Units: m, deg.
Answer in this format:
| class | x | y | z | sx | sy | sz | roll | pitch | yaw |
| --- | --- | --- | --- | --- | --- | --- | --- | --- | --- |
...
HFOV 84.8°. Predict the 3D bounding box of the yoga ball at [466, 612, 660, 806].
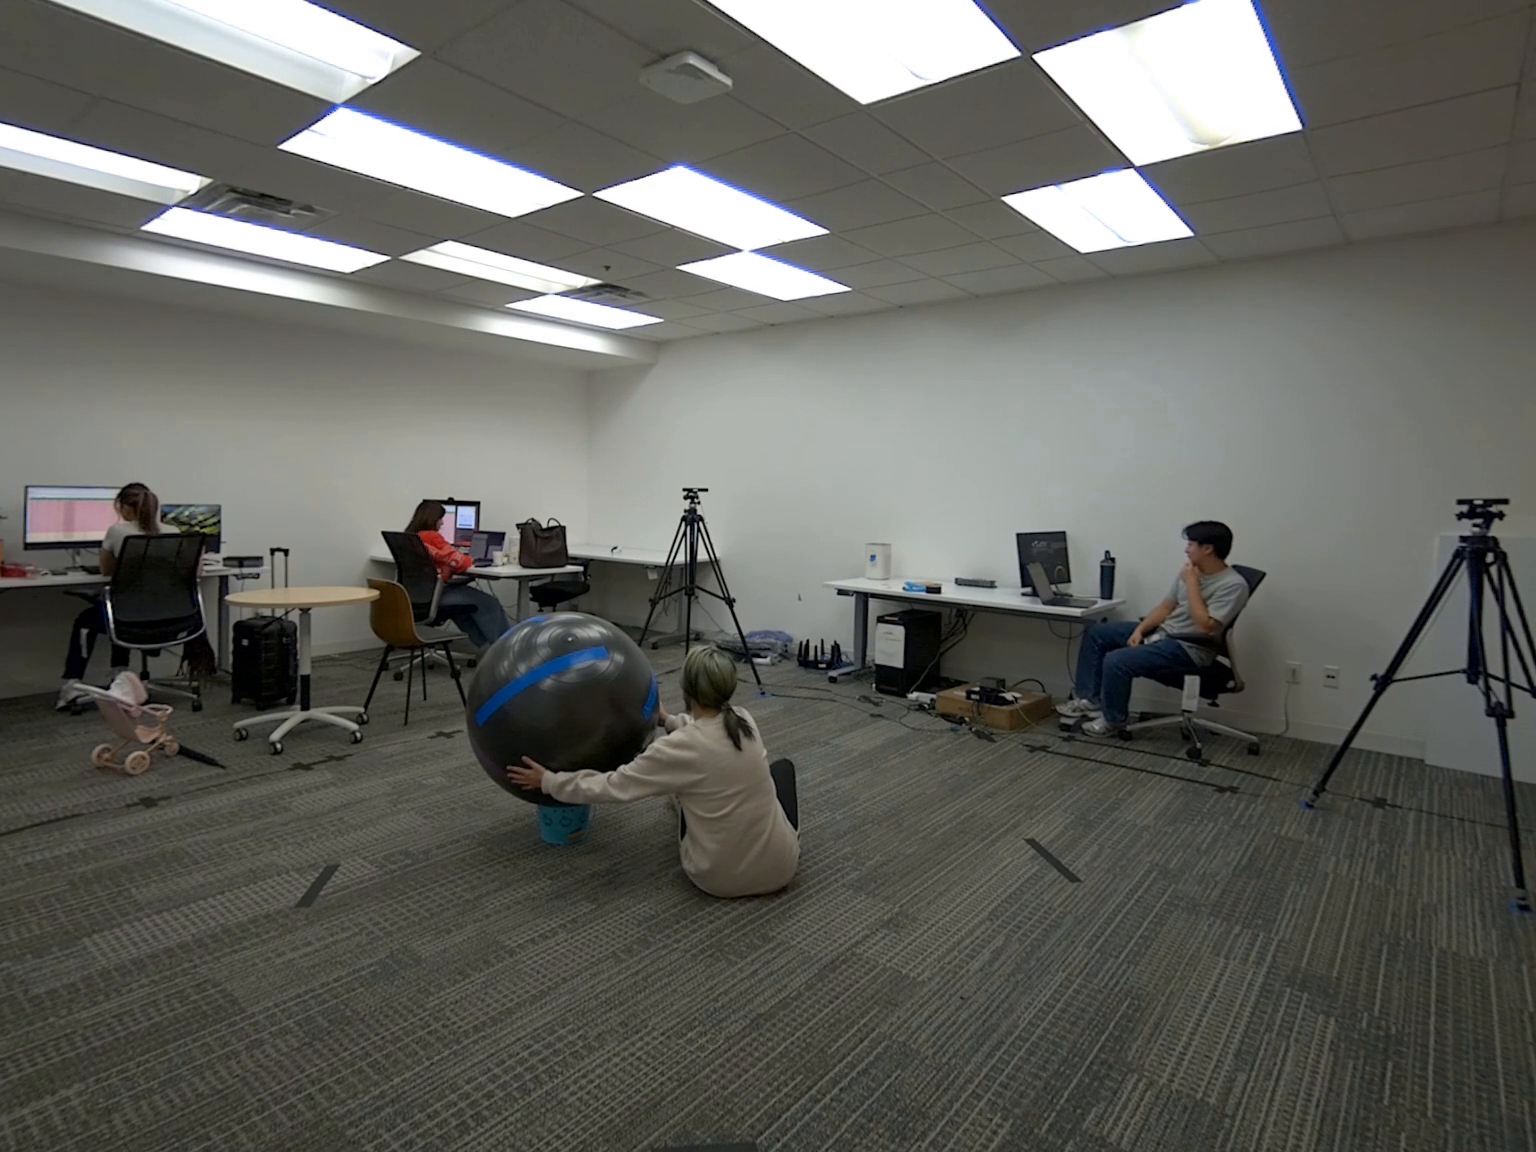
| class | x | y | z | sx | sy | sz | roll | pitch | yaw |
| --- | --- | --- | --- | --- | --- | --- | --- | --- | --- |
| yoga ball | -0.820 | 0.527 | 3.380 | 0.757 | 0.756 | 0.761 | 1 | 4 | -2 |
